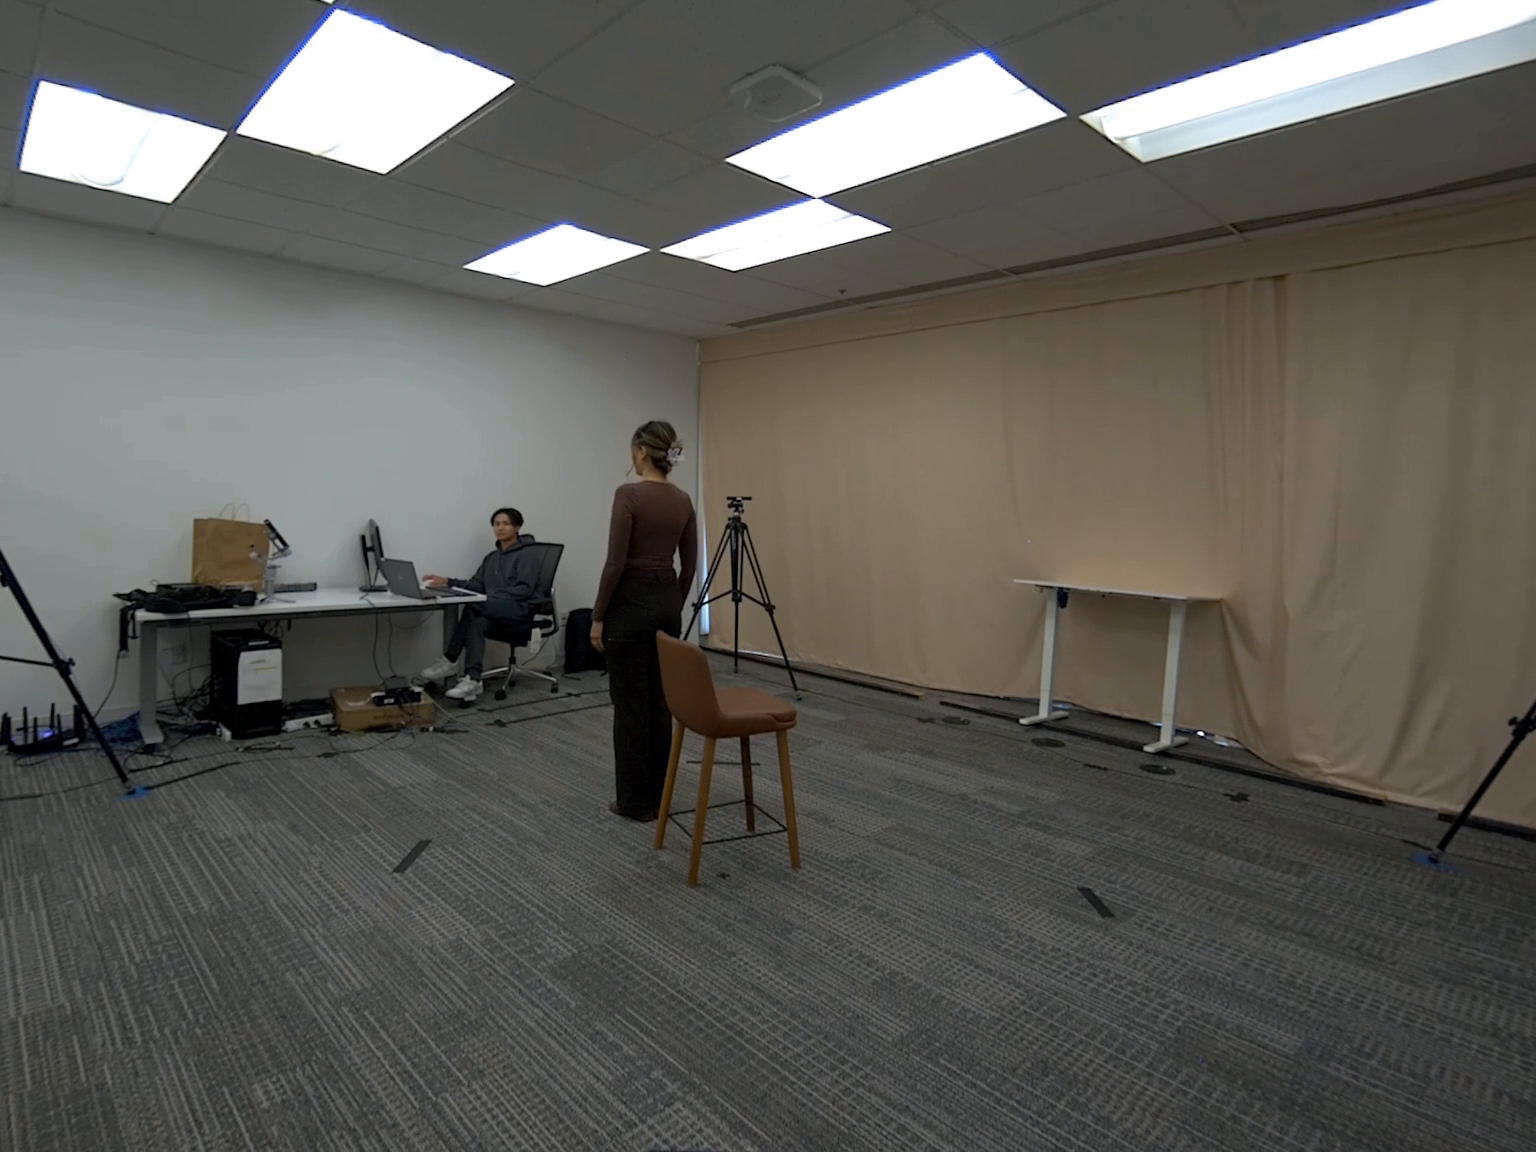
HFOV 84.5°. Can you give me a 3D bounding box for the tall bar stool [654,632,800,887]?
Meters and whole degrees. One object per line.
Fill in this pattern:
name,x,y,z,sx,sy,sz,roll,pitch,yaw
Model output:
tall bar stool,-0.169,0.659,3.242,0.459,0.887,0.466,-2,4,-27
